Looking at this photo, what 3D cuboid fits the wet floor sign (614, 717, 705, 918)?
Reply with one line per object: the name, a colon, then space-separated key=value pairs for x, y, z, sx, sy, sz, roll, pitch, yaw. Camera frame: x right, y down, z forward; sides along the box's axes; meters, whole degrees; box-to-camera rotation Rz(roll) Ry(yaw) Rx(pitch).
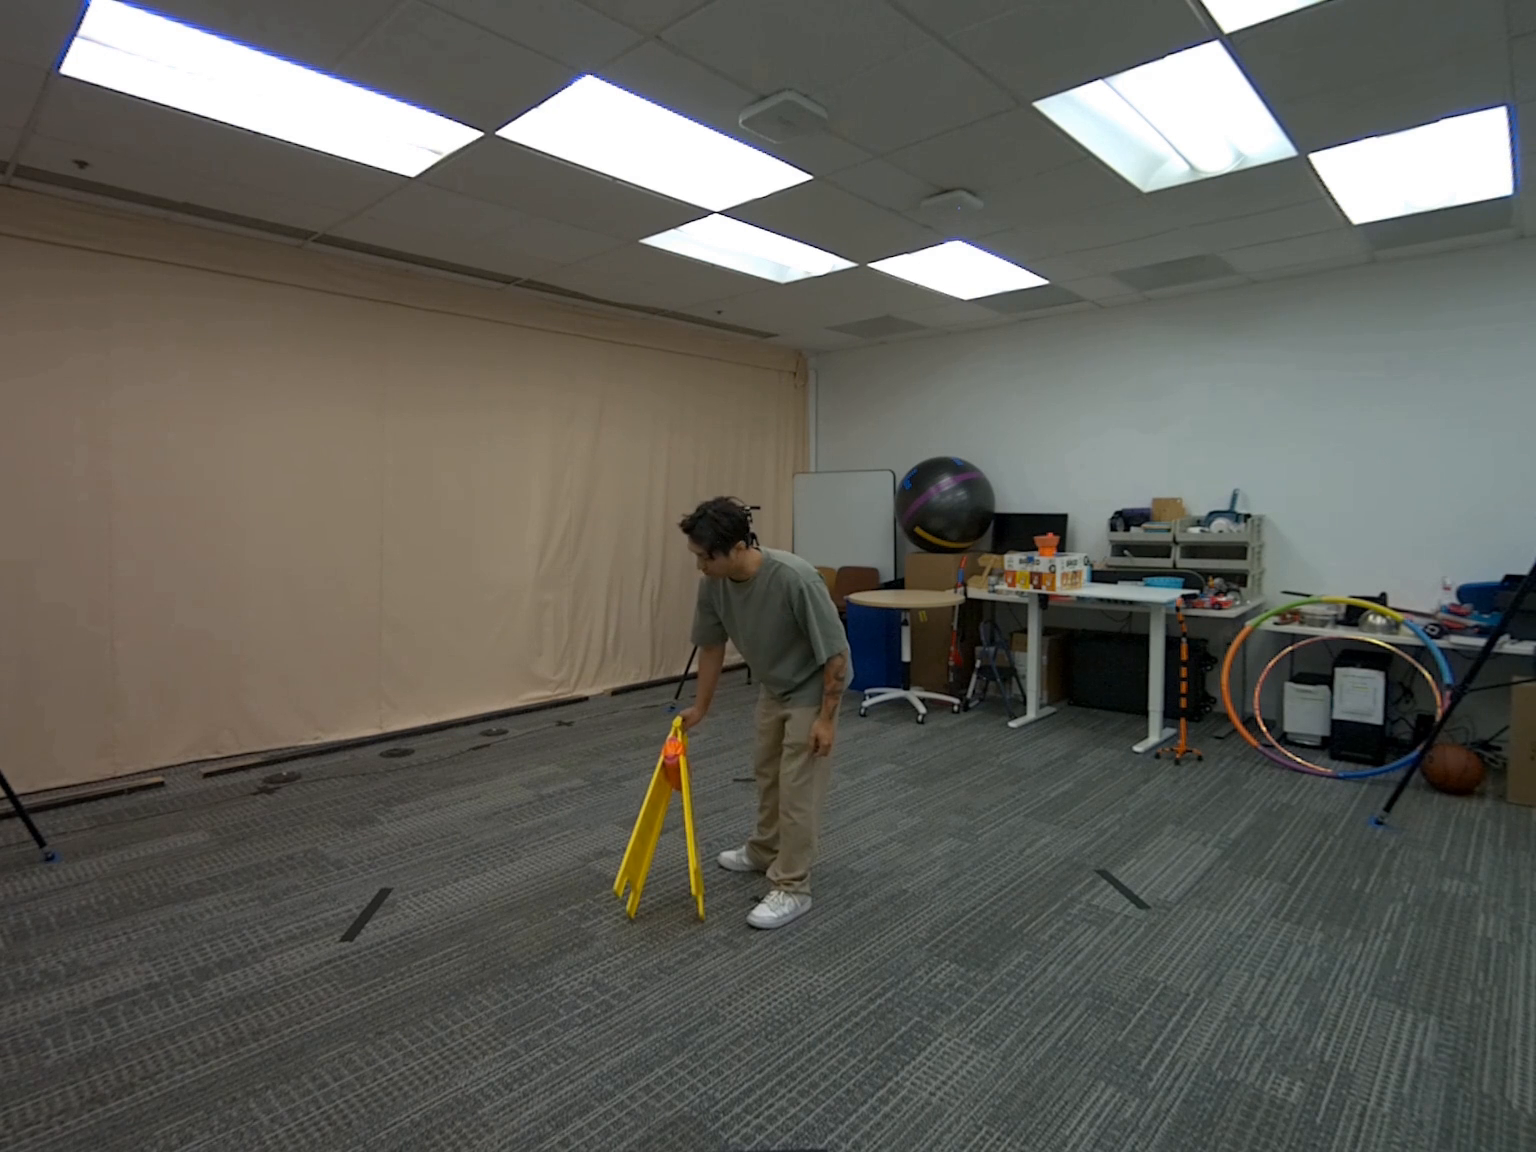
wet floor sign: x=-0.331 y=0.826 z=2.933 sx=0.292 sy=0.656 sz=0.276 roll=0 pitch=-37 yaw=5
